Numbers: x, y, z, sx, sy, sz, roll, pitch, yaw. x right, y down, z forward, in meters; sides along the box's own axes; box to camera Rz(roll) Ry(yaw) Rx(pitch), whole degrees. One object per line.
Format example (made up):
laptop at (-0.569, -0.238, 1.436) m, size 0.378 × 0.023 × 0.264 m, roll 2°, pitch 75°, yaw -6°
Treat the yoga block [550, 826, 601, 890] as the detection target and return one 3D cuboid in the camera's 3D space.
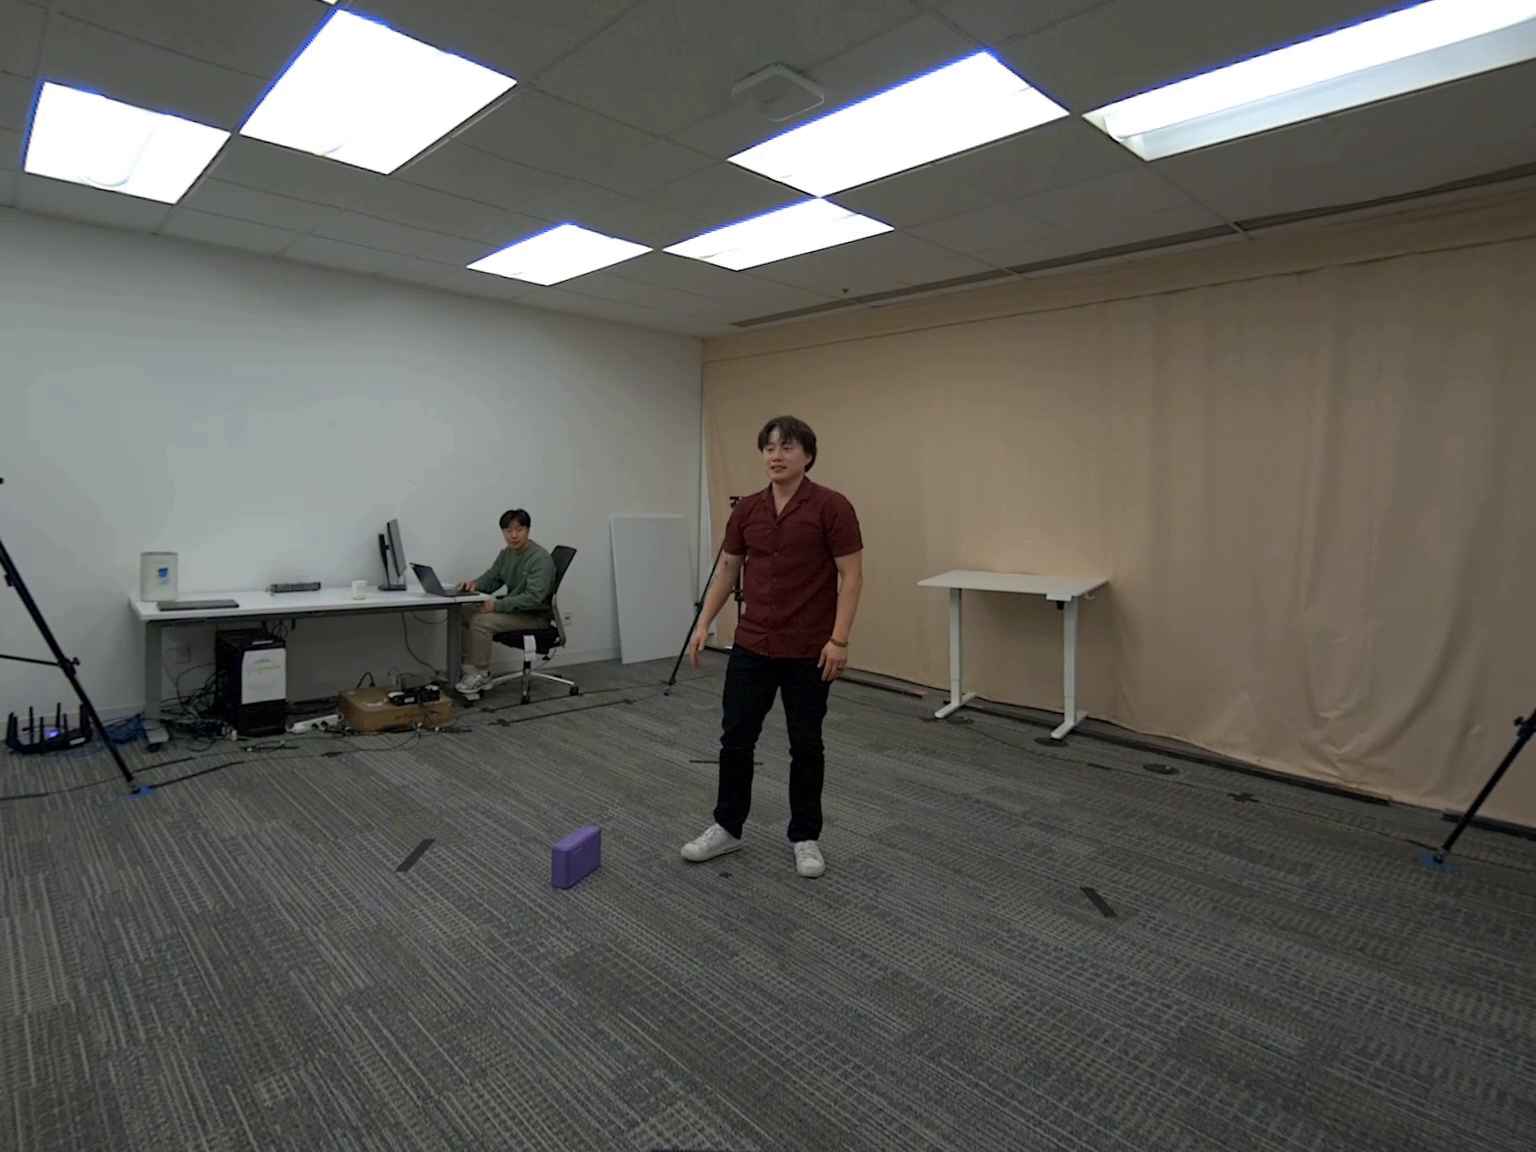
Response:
yoga block at (-0.702, 1.019, 3.062) m, size 0.078 × 0.148 × 0.226 m, roll 2°, pitch 4°, yaw 20°
